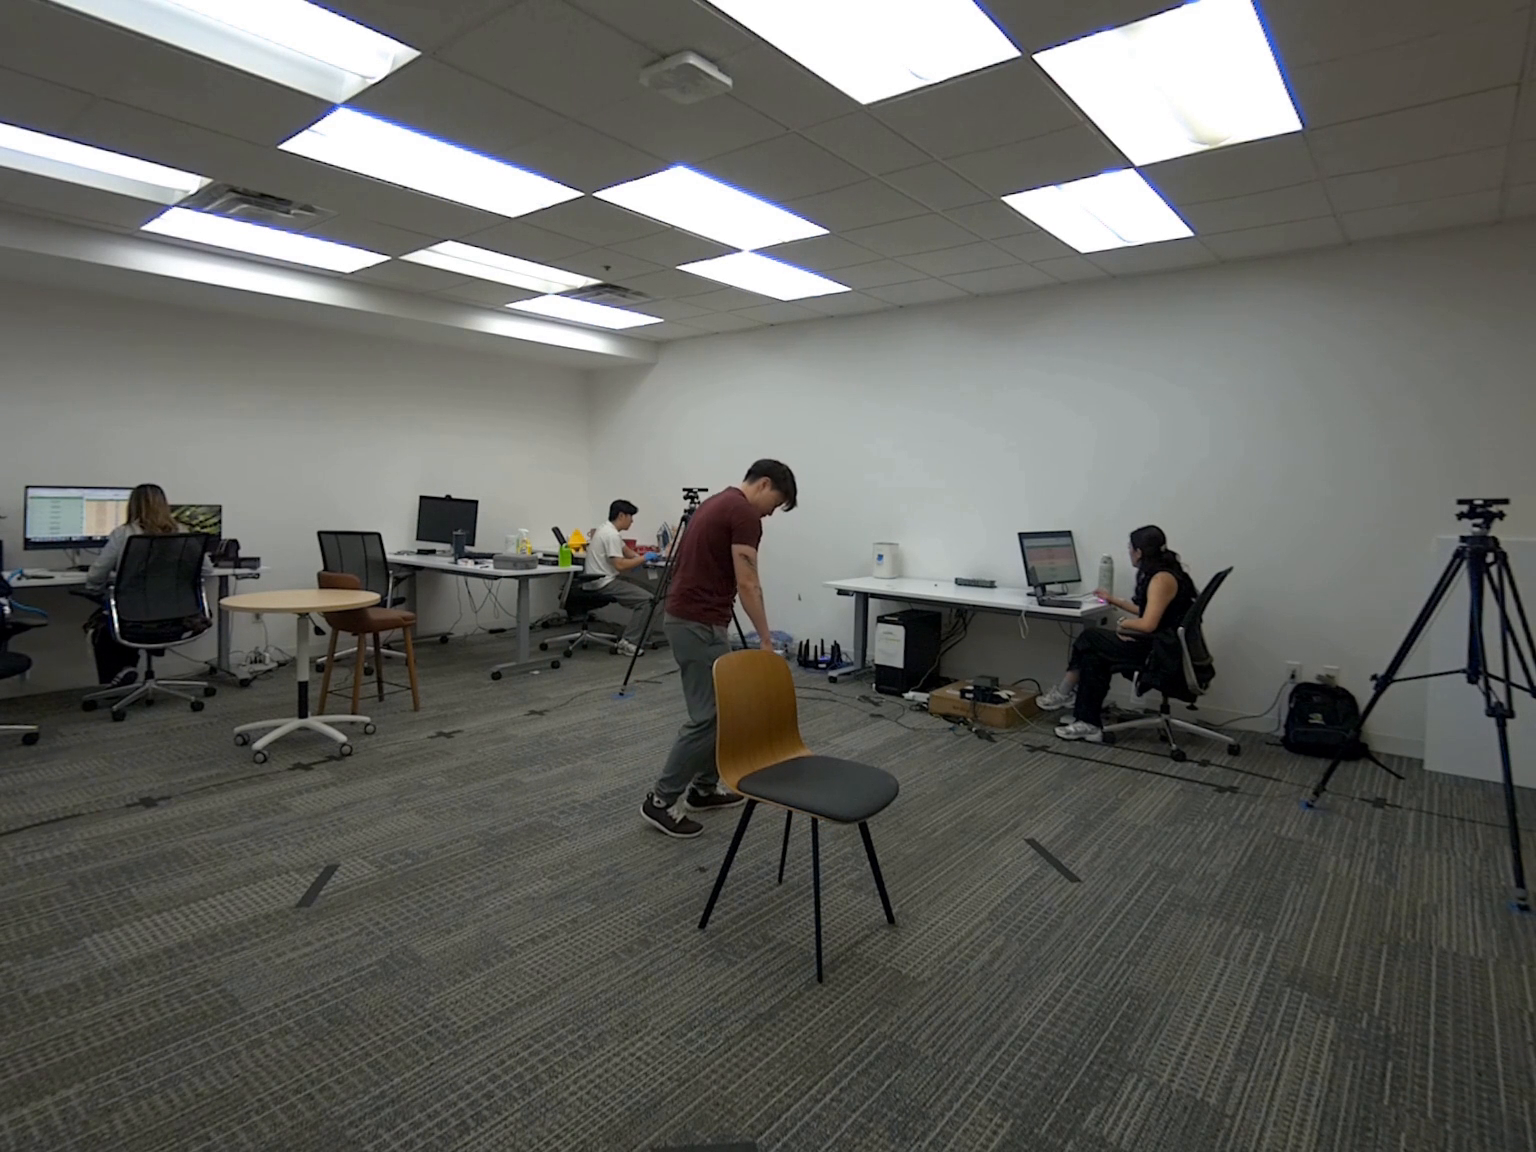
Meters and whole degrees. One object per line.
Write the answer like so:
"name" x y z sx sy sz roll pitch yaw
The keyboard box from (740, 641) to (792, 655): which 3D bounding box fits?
"keyboard box" -0.015 0.442 3.451 0.060 0.175 0.431 1 9 18
